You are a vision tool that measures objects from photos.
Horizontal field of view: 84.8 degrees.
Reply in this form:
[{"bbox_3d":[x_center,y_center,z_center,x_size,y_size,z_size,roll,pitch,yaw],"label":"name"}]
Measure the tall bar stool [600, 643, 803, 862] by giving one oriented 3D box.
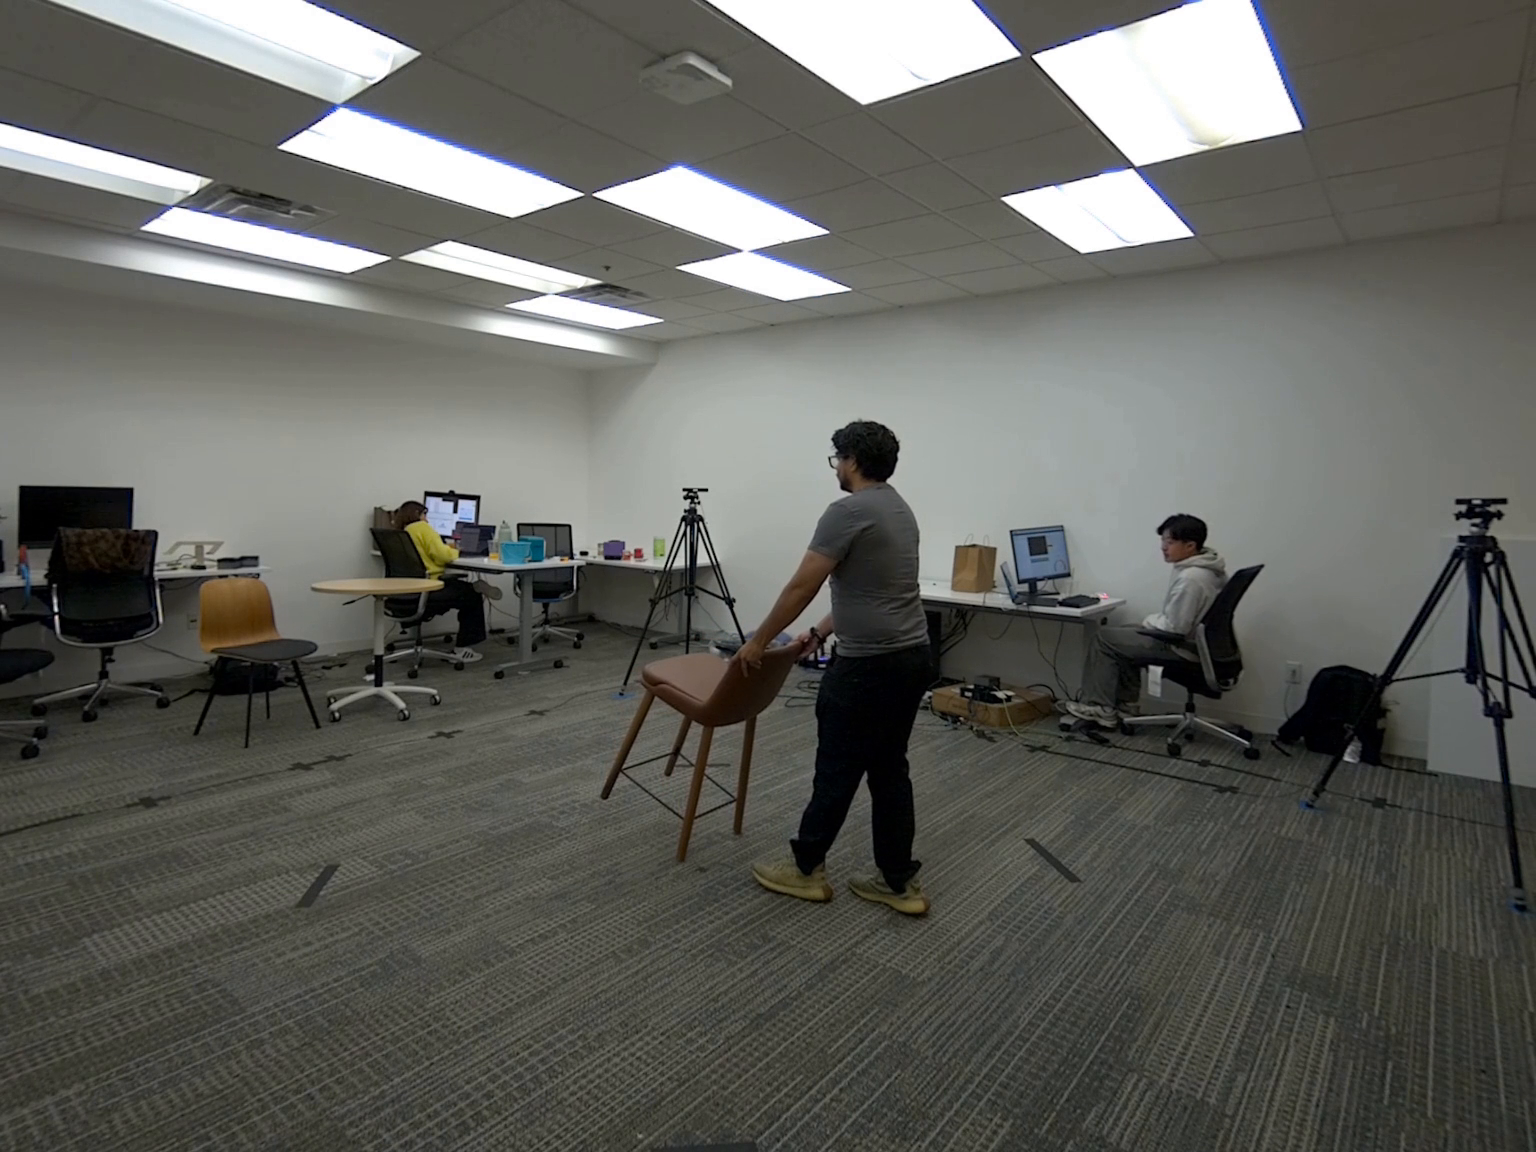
[{"bbox_3d":[-0.266,0.567,3.327,0.486,0.882,0.443,29,19,33],"label":"tall bar stool"}]
